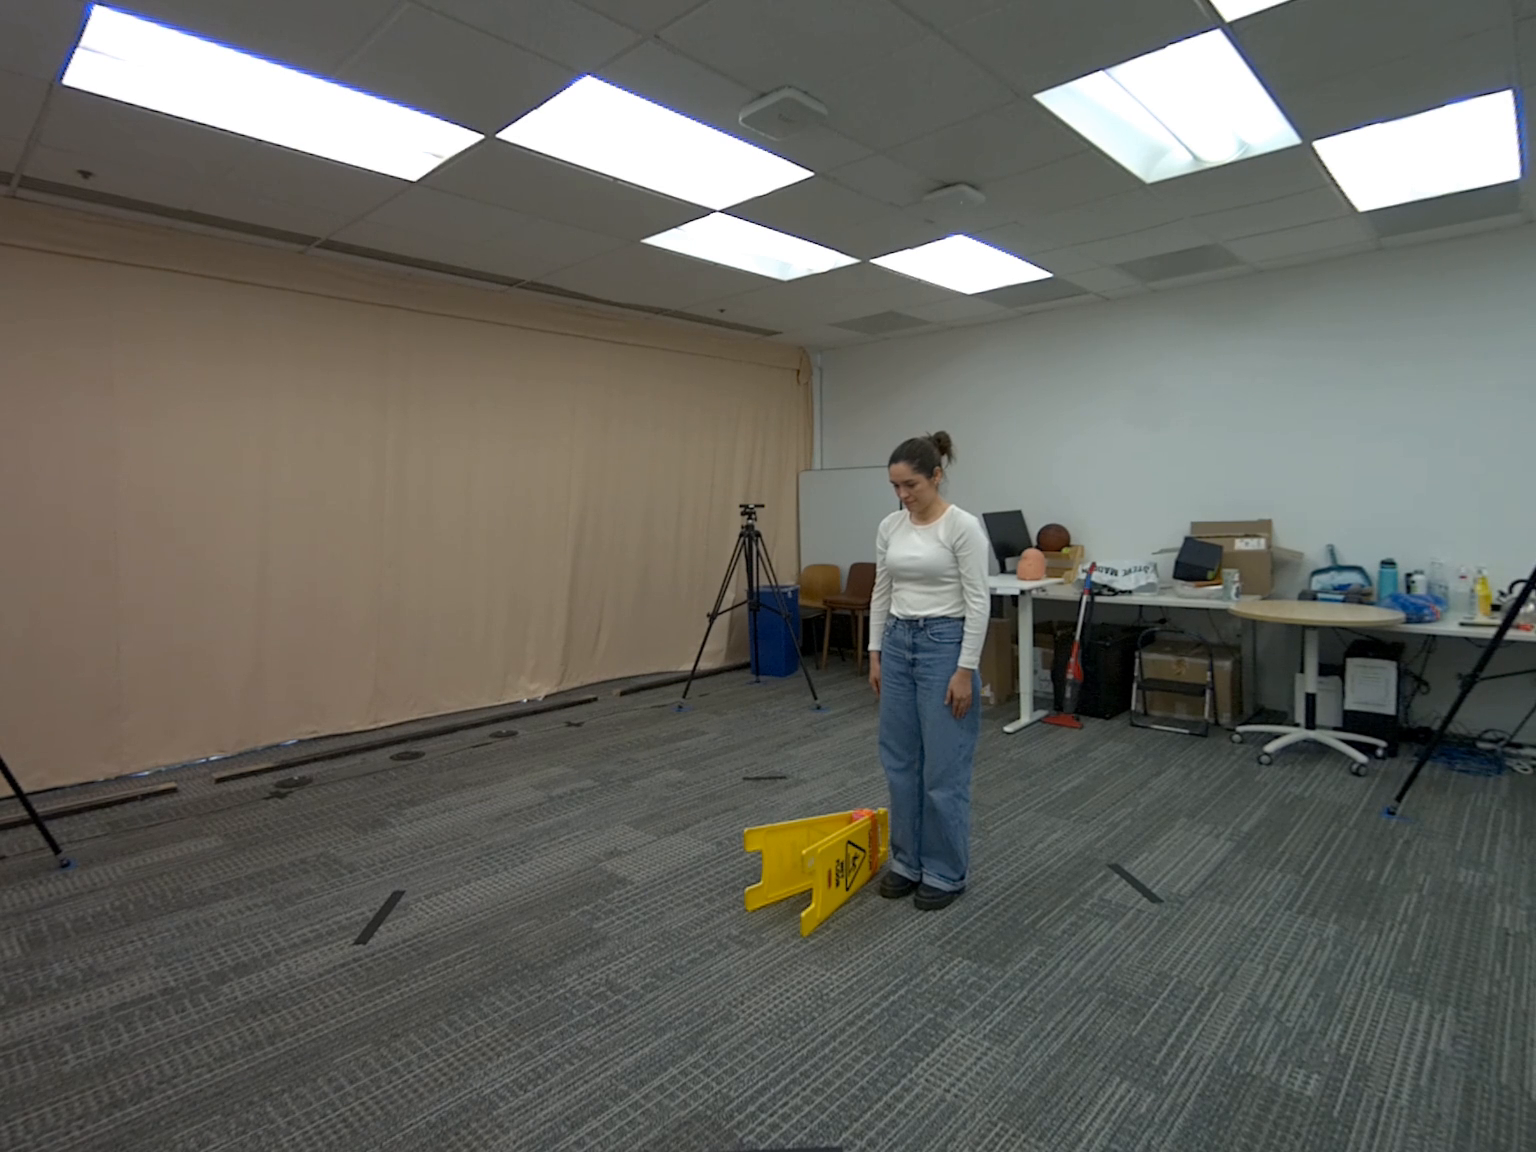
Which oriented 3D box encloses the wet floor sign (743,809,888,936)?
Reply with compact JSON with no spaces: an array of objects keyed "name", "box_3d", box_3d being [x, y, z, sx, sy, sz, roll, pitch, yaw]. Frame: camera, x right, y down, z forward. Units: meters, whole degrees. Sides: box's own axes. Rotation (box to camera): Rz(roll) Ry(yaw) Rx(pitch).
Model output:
[{"name":"wet floor sign","box_3d":[0.237,1.004,3.013,0.299,0.282,0.626,4,5,44]}]
